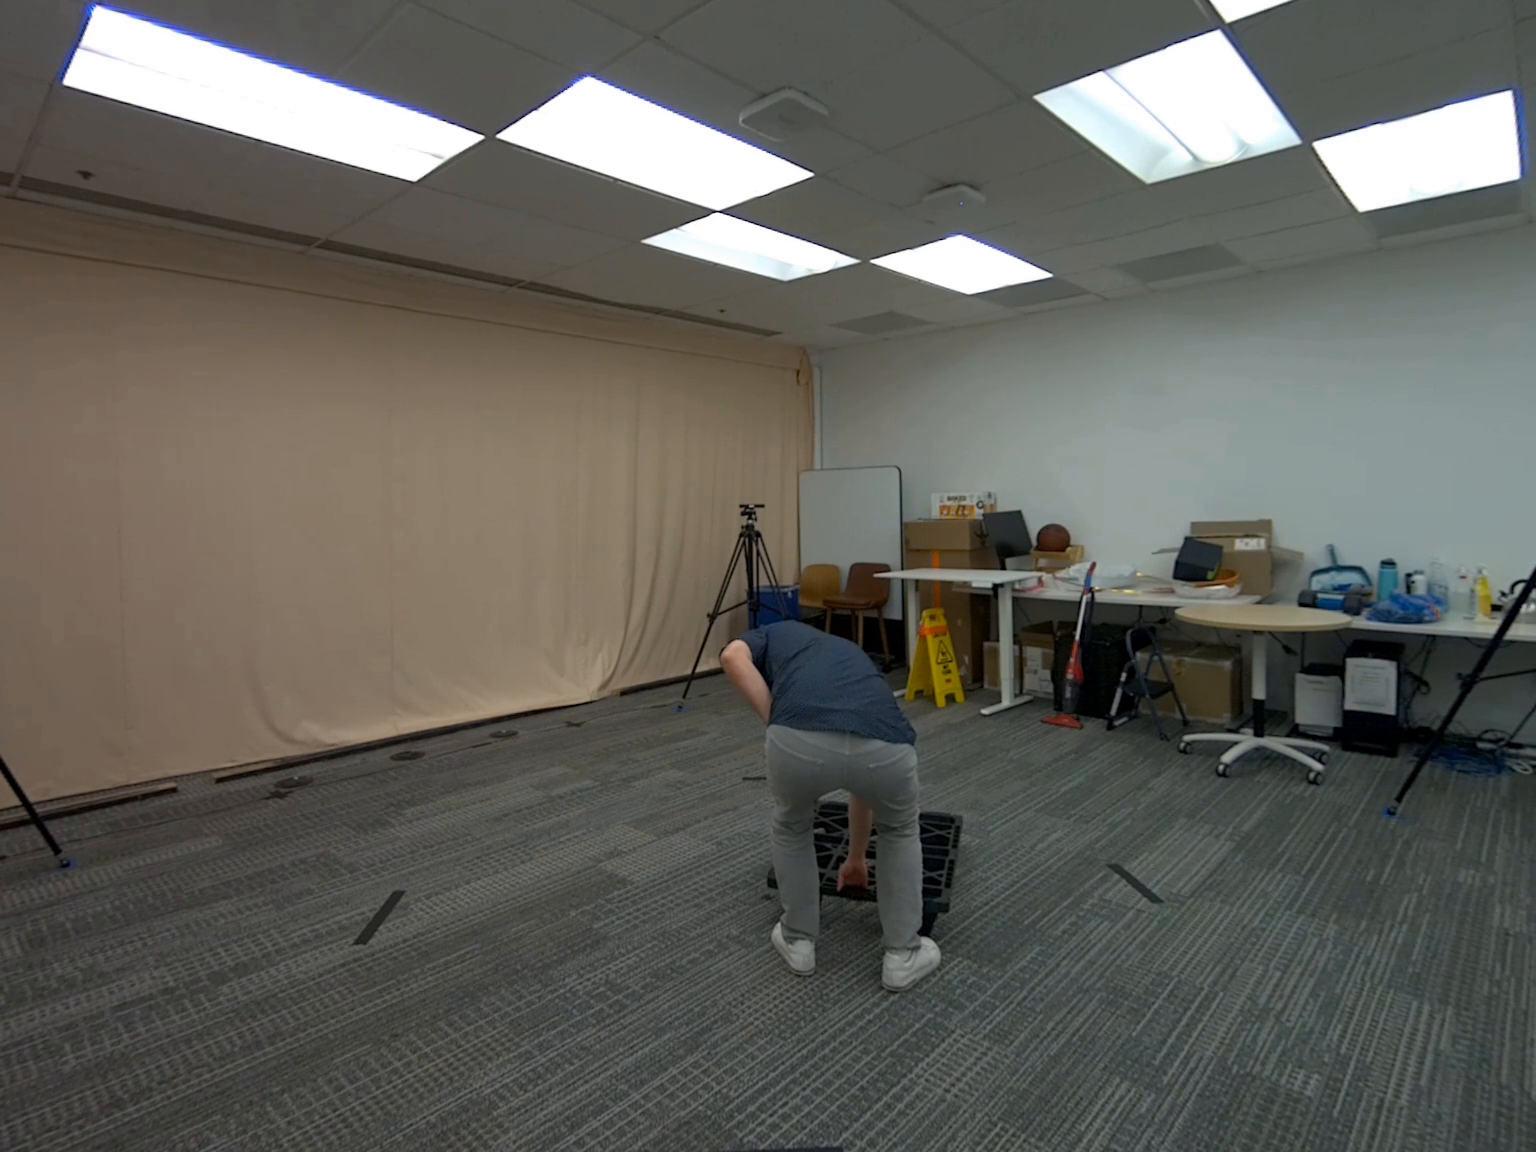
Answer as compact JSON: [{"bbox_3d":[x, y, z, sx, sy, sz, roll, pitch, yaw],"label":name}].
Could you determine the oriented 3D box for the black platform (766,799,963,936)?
[{"bbox_3d":[0.394,1.051,3.107,0.617,0.143,0.792,1,5,17],"label":"black platform"}]
